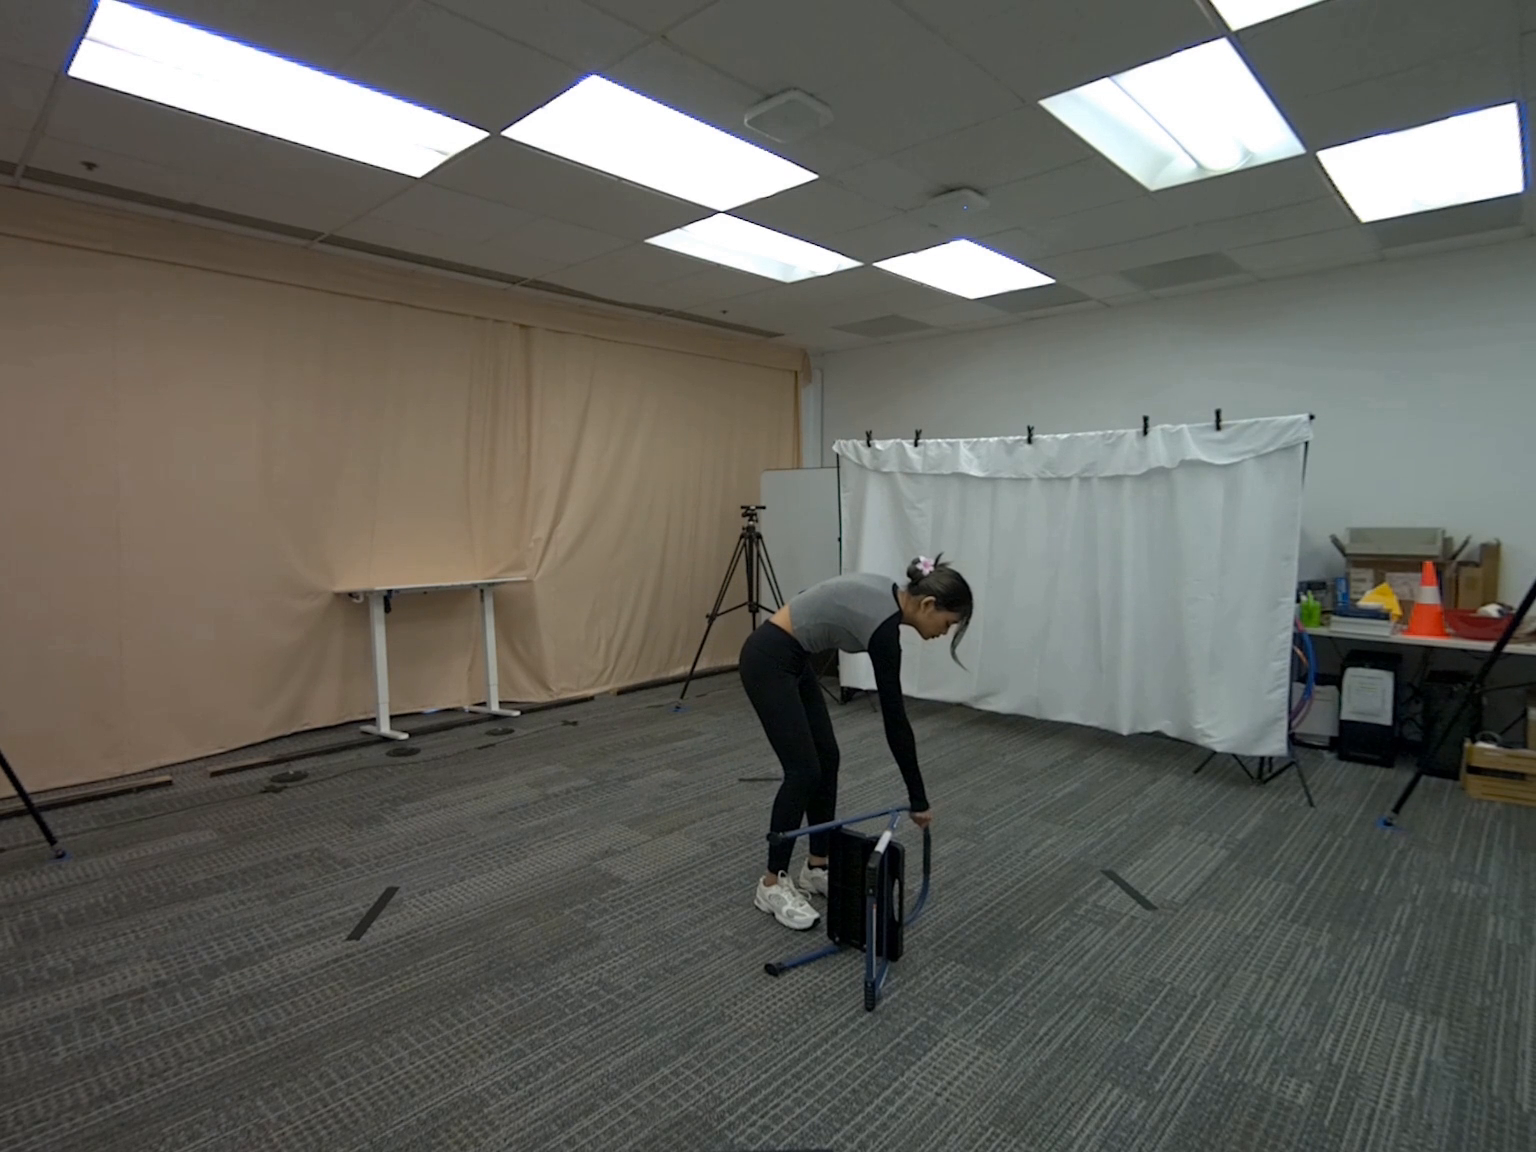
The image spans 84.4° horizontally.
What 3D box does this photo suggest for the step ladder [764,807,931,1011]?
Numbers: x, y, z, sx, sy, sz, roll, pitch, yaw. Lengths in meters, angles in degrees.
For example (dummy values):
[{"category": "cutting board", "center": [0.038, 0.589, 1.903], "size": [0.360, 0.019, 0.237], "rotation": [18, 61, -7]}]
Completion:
[{"category": "step ladder", "center": [0.312, 0.961, 2.624], "size": [0.360, 0.429, 0.588], "rotation": [4, 6, 35]}]
